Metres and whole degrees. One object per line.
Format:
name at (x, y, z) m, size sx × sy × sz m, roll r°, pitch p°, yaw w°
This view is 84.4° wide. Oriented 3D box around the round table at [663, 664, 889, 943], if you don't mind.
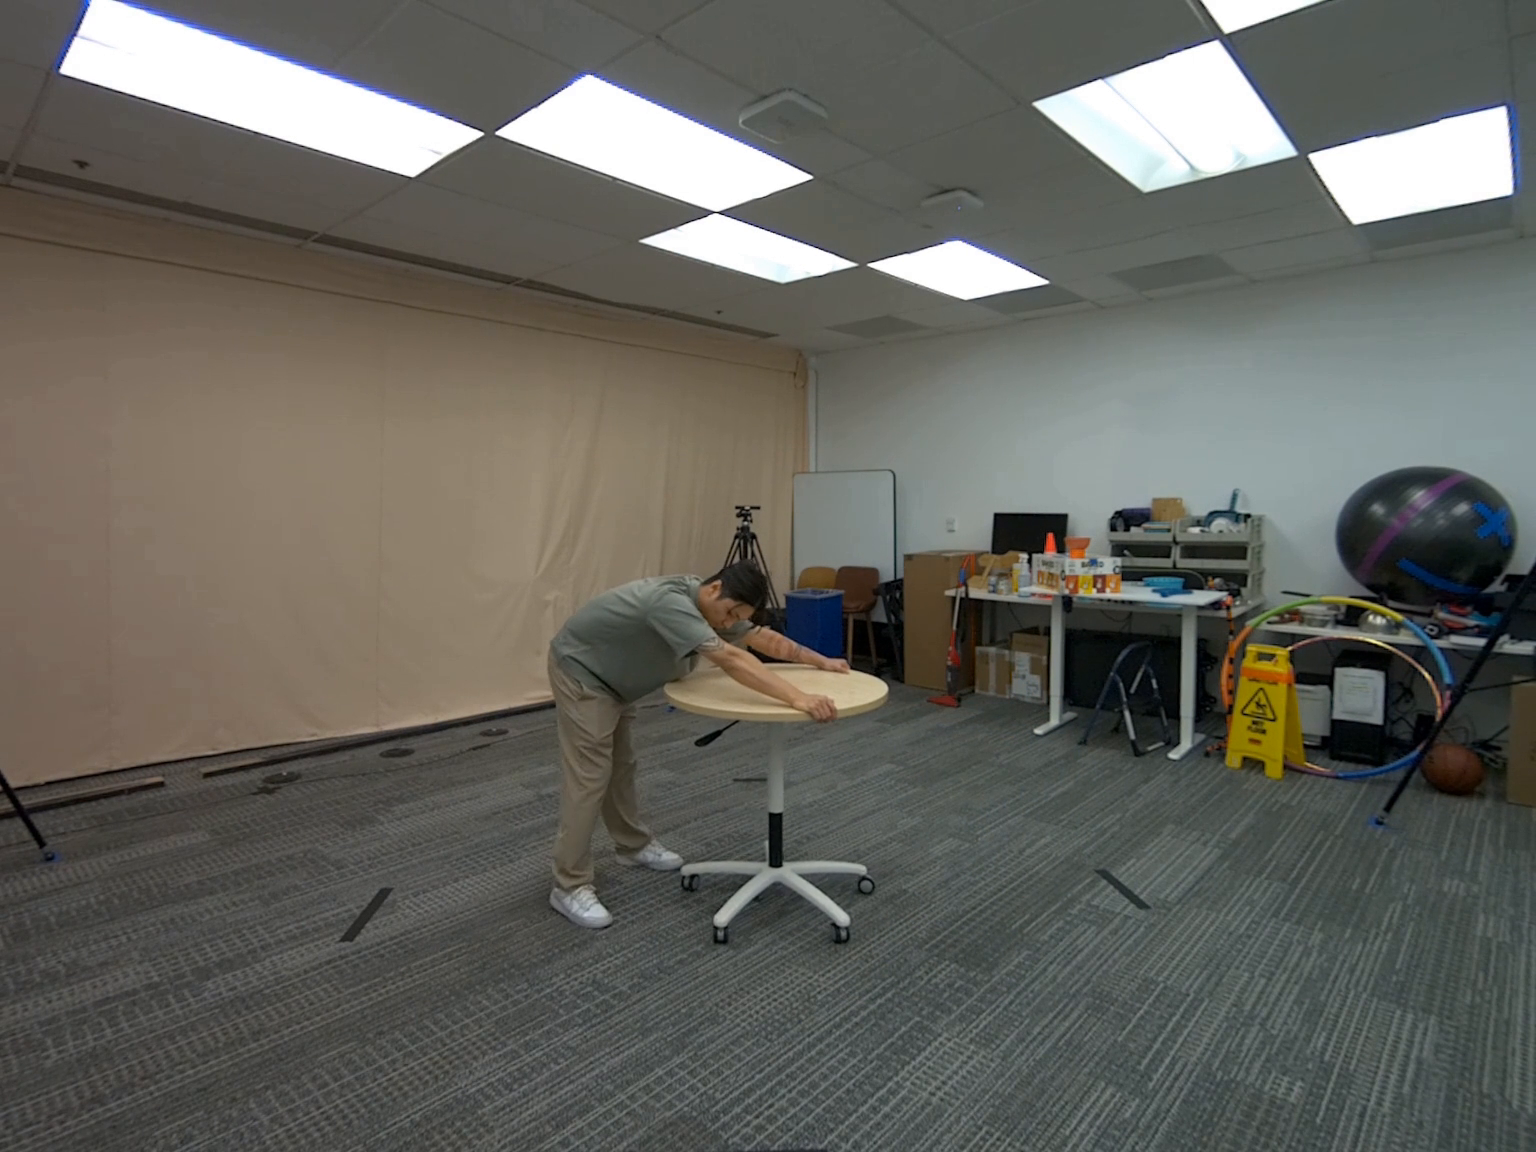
round table at (0.039, 0.761, 2.930) m, size 0.784 × 0.784 × 0.788 m, roll -1°, pitch 4°, yaw -2°
